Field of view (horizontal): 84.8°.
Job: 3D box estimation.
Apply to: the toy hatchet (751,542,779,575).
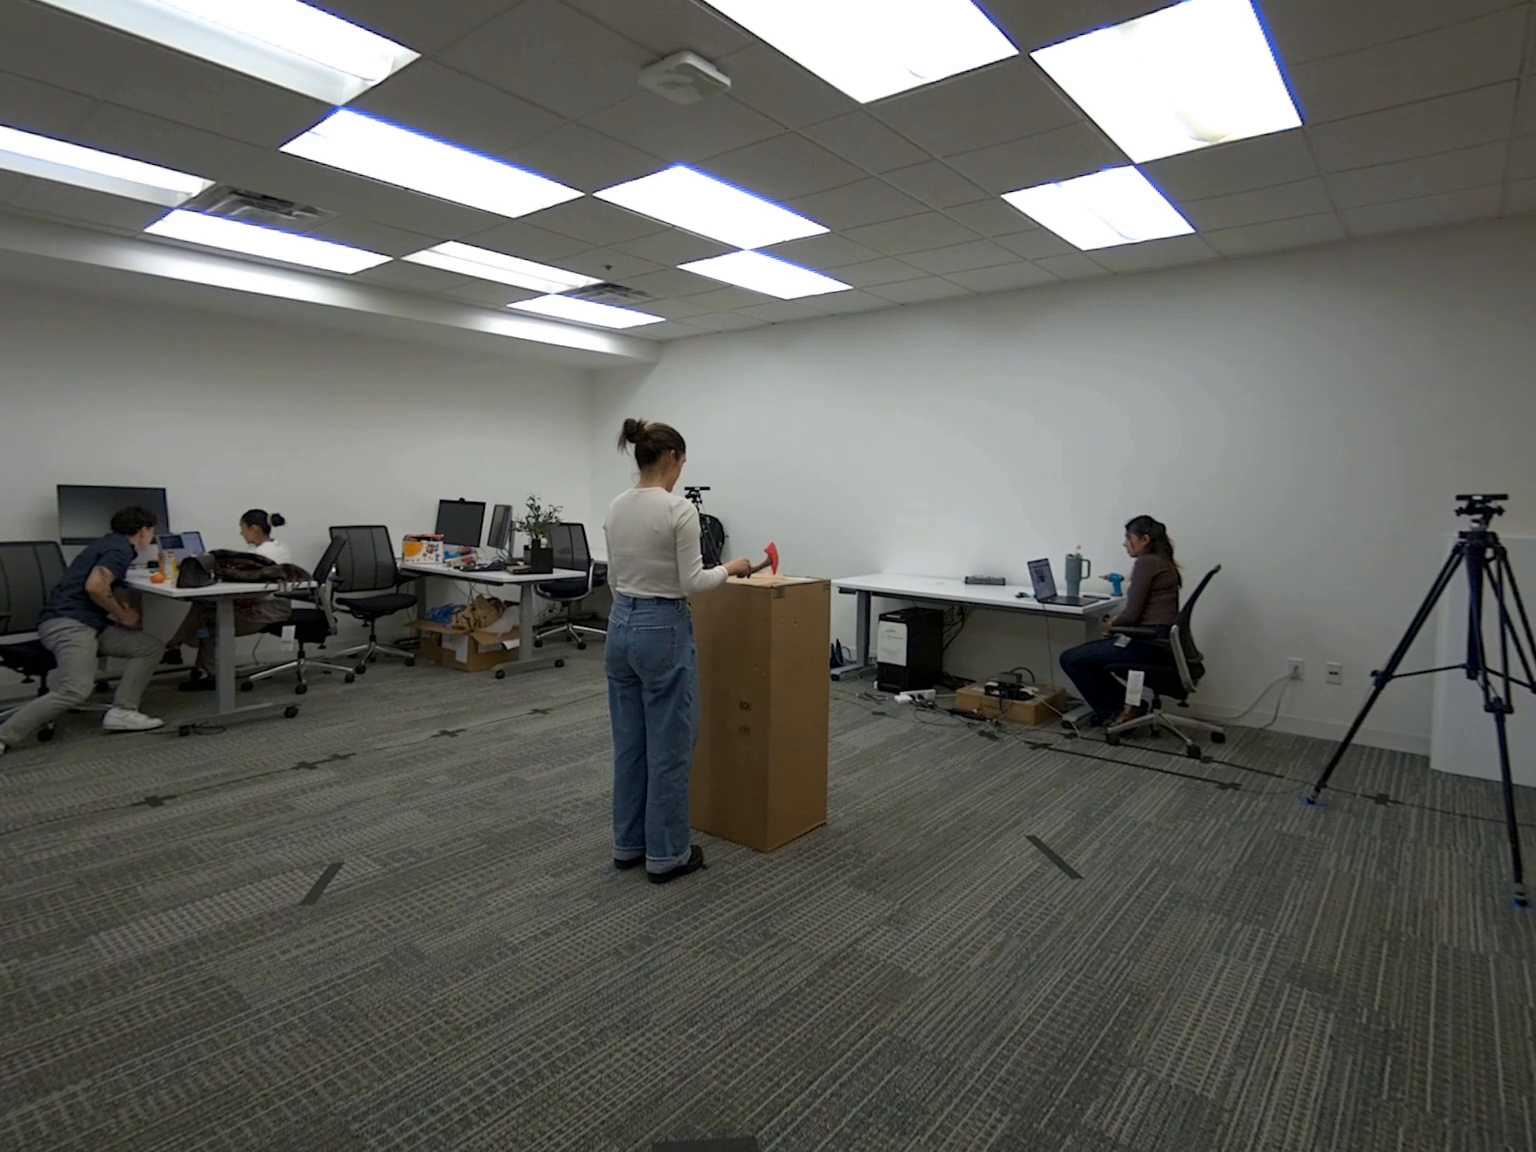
[{"bbox_3d":[-0.042,-0.068,3.272,0.030,0.130,0.261,10,7,38],"label":"toy hatchet"}]
